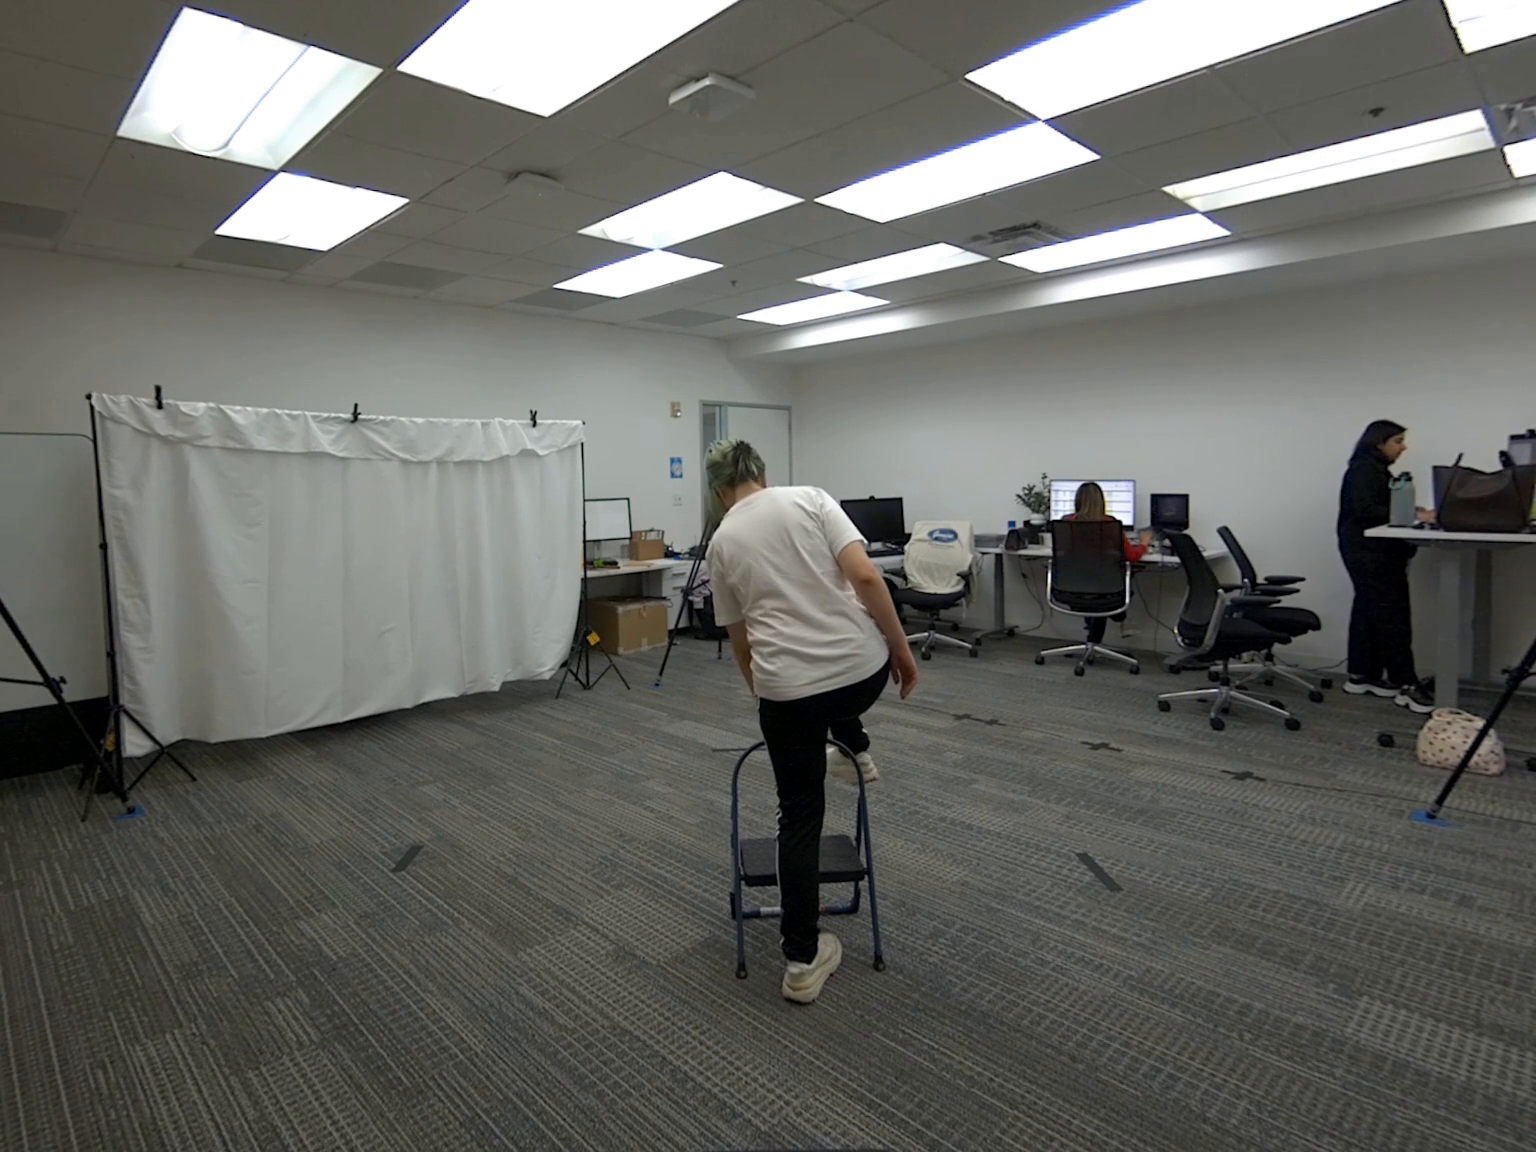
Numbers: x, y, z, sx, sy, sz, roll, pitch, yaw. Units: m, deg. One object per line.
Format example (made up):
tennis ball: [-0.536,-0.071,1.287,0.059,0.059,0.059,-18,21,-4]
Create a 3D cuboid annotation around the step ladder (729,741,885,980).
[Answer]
step ladder: [0.102,0.807,2.565,0.429,0.604,0.352,-2,4,-5]
